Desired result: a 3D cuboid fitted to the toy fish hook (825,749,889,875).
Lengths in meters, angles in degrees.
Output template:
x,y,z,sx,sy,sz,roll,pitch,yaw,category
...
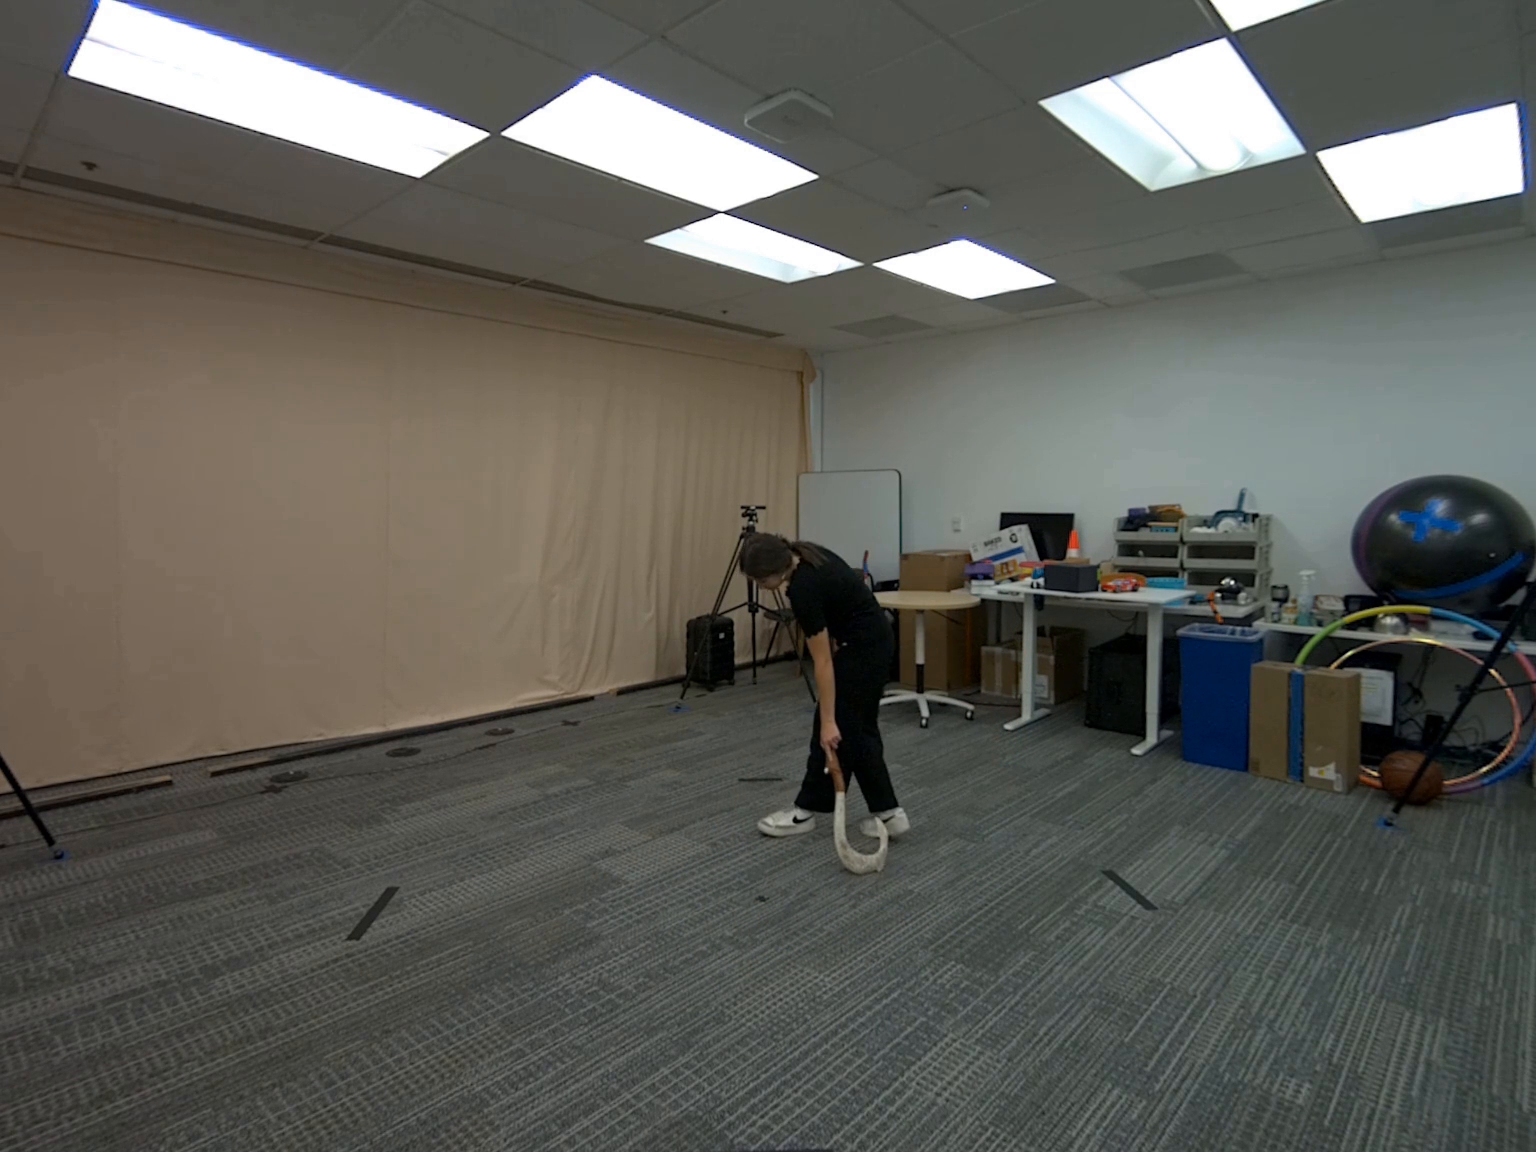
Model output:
x,y,z,sx,sy,sz,roll,pitch,yaw,category
0.341,0.892,3.303,0.220,0.516,0.048,-2,-27,-20,toy fish hook
